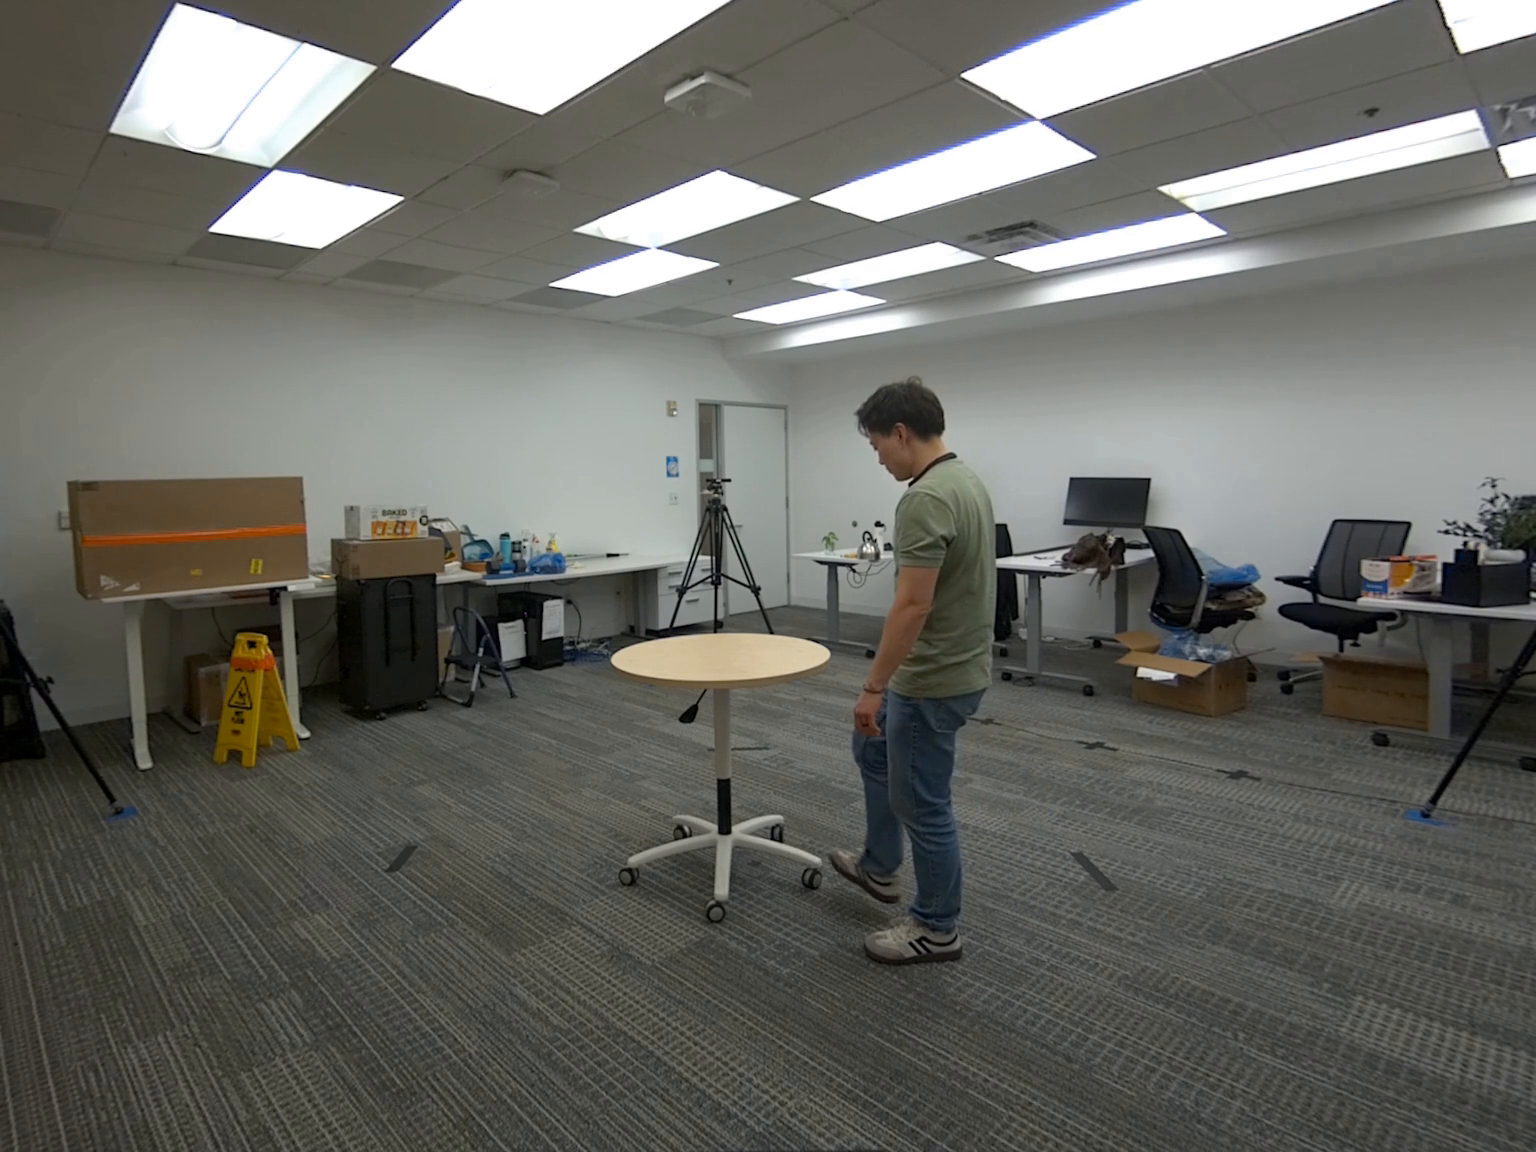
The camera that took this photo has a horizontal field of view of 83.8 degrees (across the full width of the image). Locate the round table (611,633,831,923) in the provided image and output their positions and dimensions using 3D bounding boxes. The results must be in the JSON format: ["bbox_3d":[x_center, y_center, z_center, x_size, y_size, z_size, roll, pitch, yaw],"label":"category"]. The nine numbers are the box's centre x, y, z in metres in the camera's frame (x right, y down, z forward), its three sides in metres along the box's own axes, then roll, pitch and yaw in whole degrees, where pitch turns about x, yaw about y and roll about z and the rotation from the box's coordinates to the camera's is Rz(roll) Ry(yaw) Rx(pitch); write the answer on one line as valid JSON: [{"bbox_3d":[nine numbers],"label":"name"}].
[{"bbox_3d":[-0.155,0.666,3.029,0.763,0.791,0.768,-1,5,-2],"label":"round table"}]
